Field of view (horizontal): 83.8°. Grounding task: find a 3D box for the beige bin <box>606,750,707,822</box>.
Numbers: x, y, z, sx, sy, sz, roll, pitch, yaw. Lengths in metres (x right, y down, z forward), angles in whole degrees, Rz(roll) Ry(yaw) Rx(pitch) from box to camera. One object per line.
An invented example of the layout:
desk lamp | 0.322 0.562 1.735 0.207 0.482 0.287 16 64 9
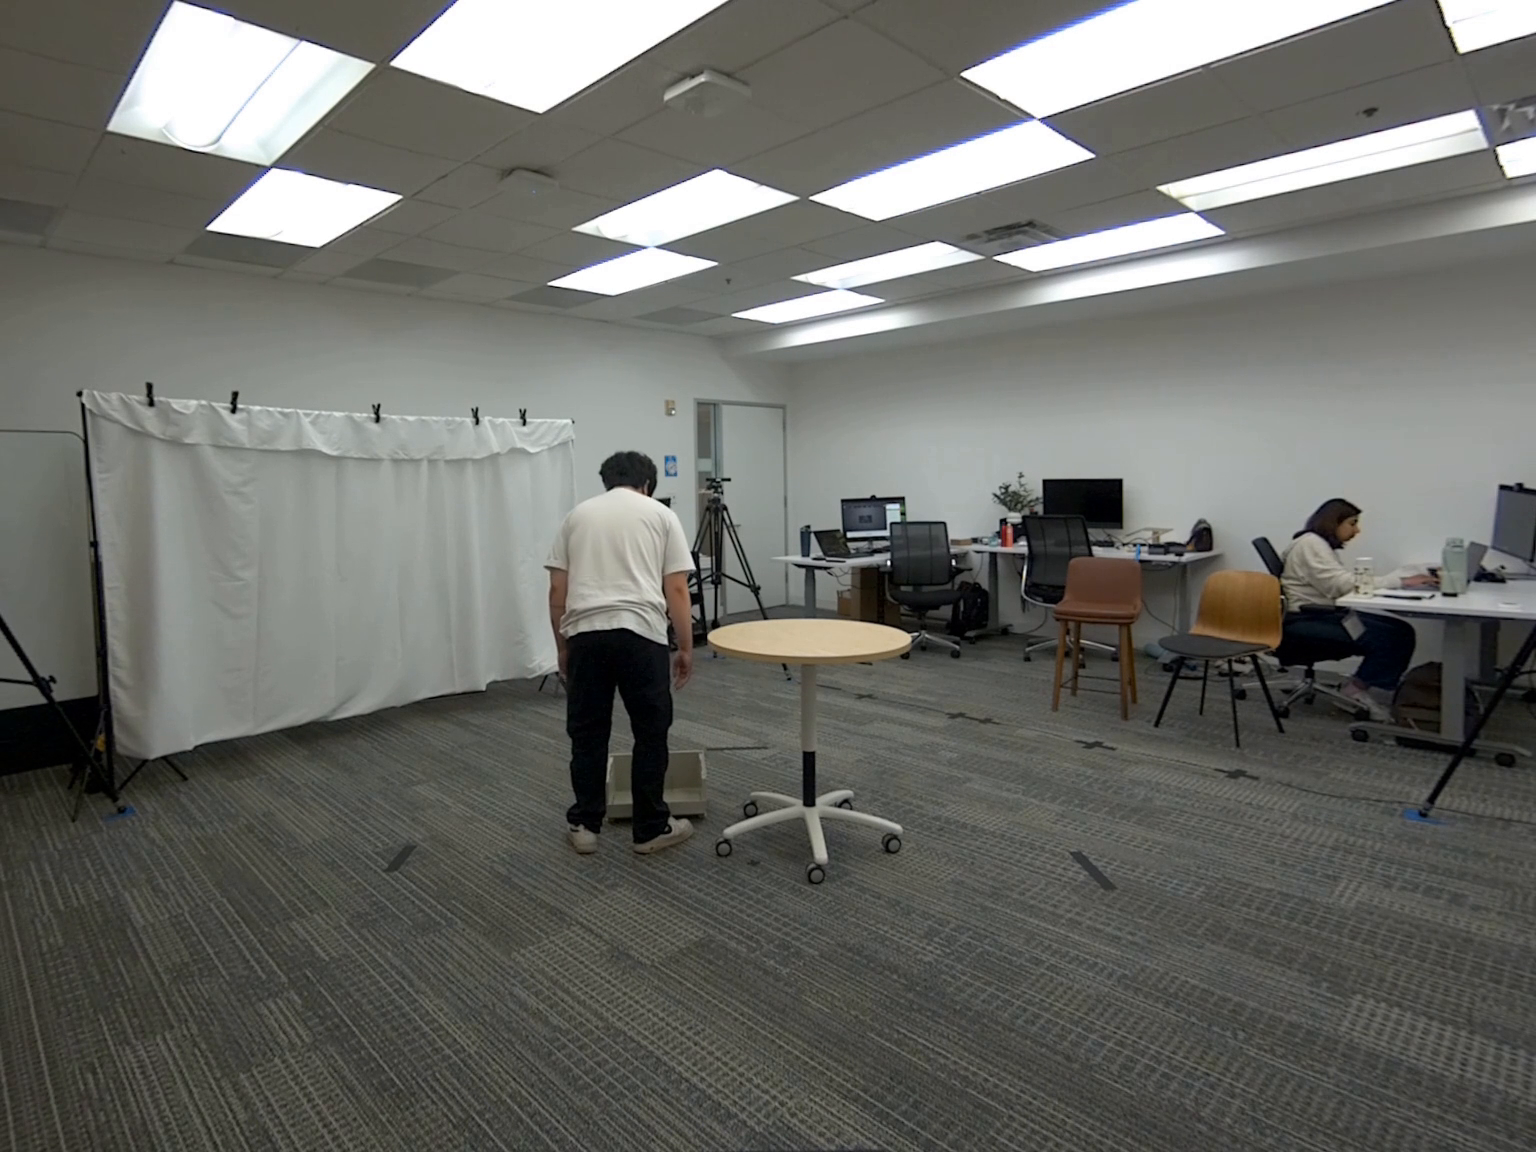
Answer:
beige bin | -0.476 0.899 3.652 0.420 0.188 0.380 -2 5 -5
